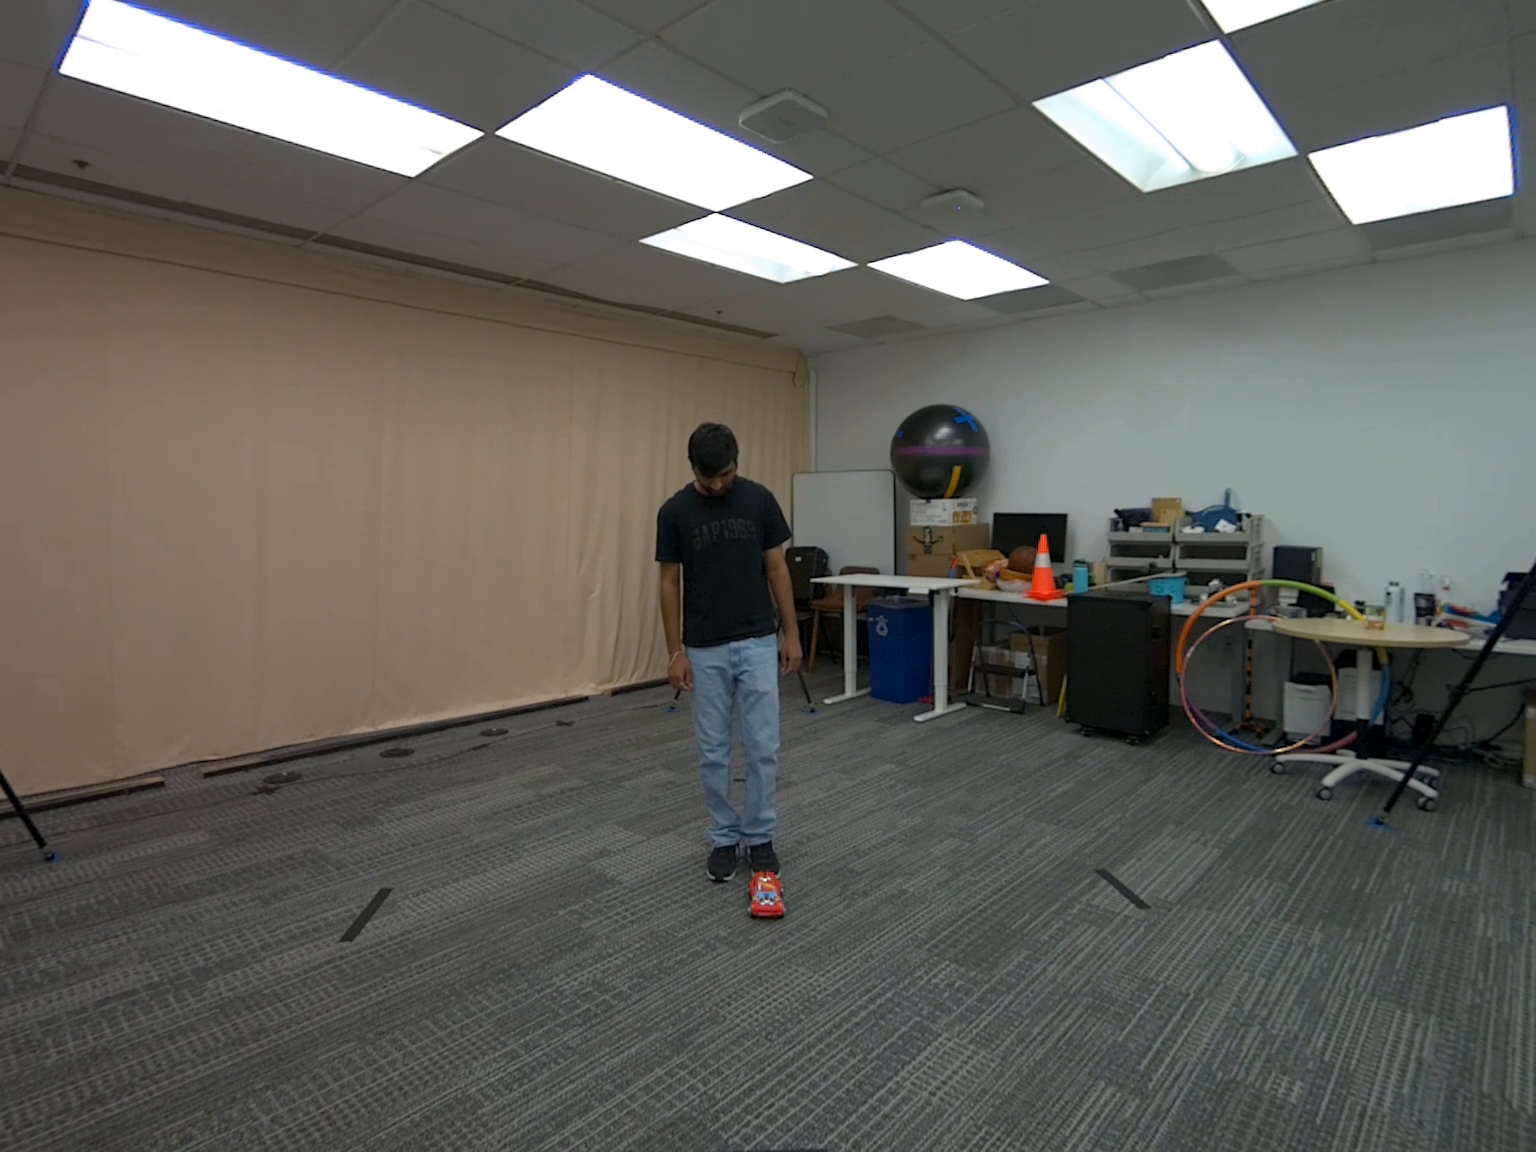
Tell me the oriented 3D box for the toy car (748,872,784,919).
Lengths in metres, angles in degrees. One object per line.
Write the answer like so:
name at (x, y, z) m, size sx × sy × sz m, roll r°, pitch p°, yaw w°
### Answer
toy car at (-0.011, 1.109, 2.941) m, size 0.130 × 0.082 × 0.257 m, roll -1°, pitch 16°, yaw 0°
